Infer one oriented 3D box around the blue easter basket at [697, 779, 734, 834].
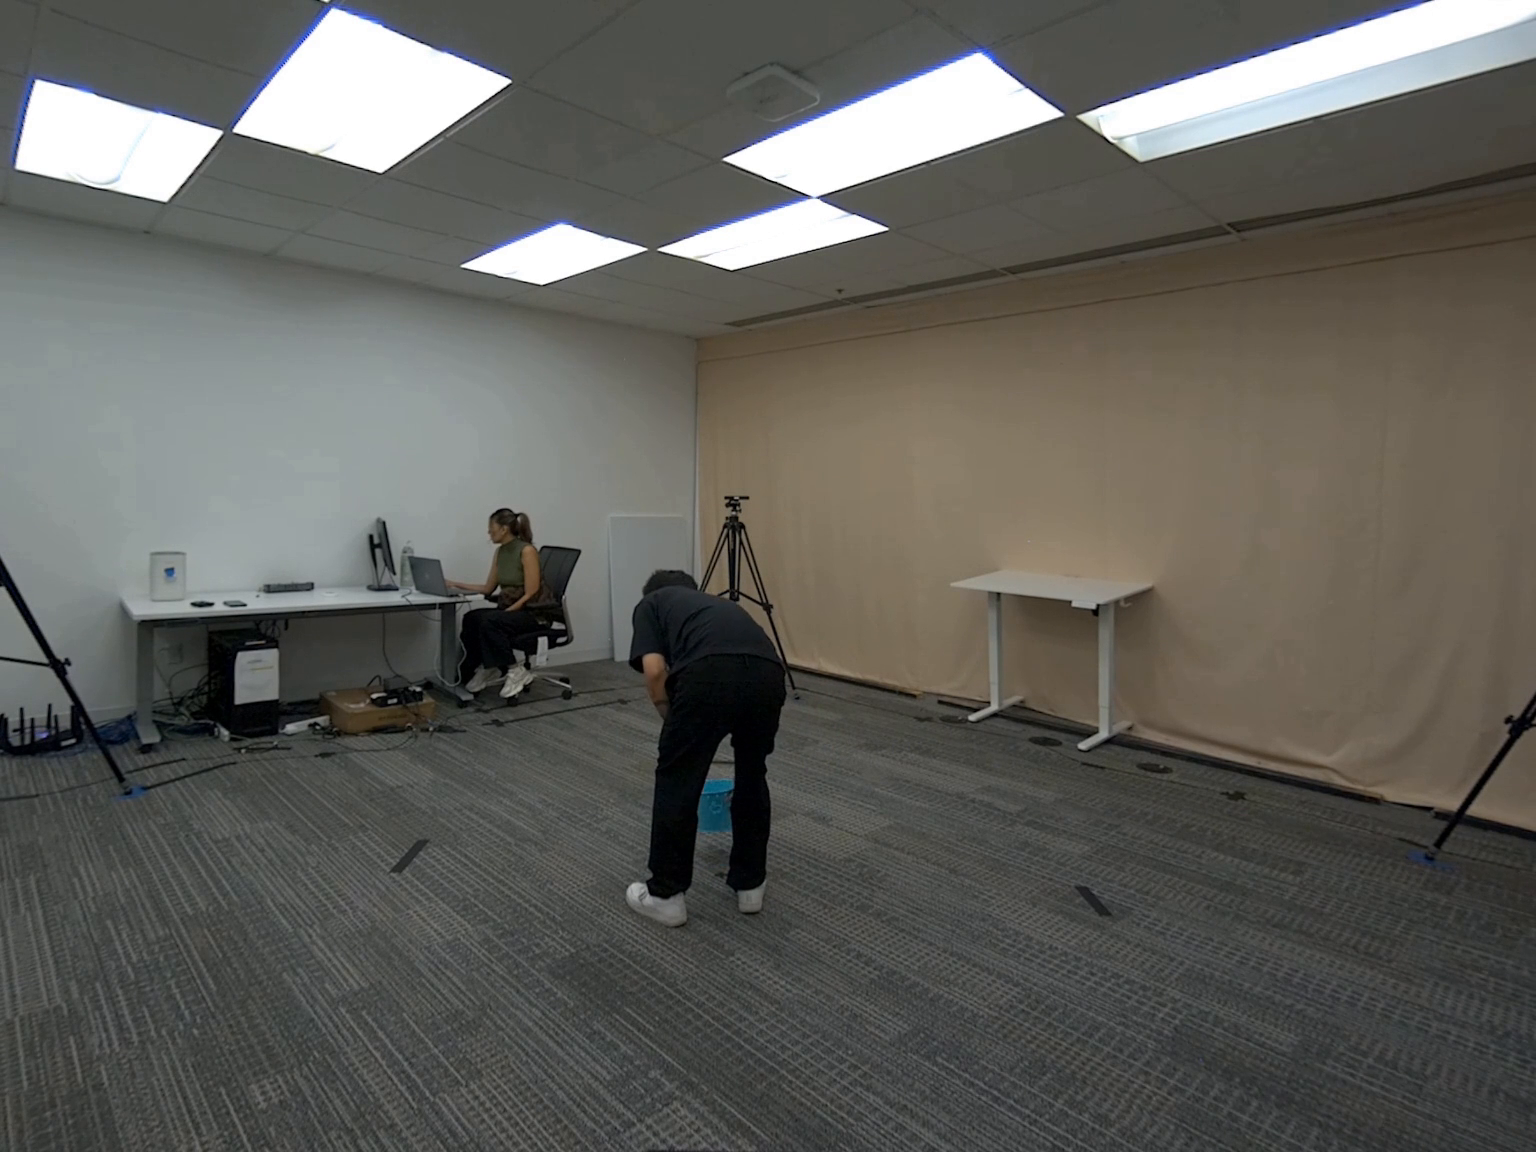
[{"bbox_3d":[-0.207,0.890,3.268,0.243,0.156,0.243,-3,-3,-2],"label":"blue easter basket"}]
